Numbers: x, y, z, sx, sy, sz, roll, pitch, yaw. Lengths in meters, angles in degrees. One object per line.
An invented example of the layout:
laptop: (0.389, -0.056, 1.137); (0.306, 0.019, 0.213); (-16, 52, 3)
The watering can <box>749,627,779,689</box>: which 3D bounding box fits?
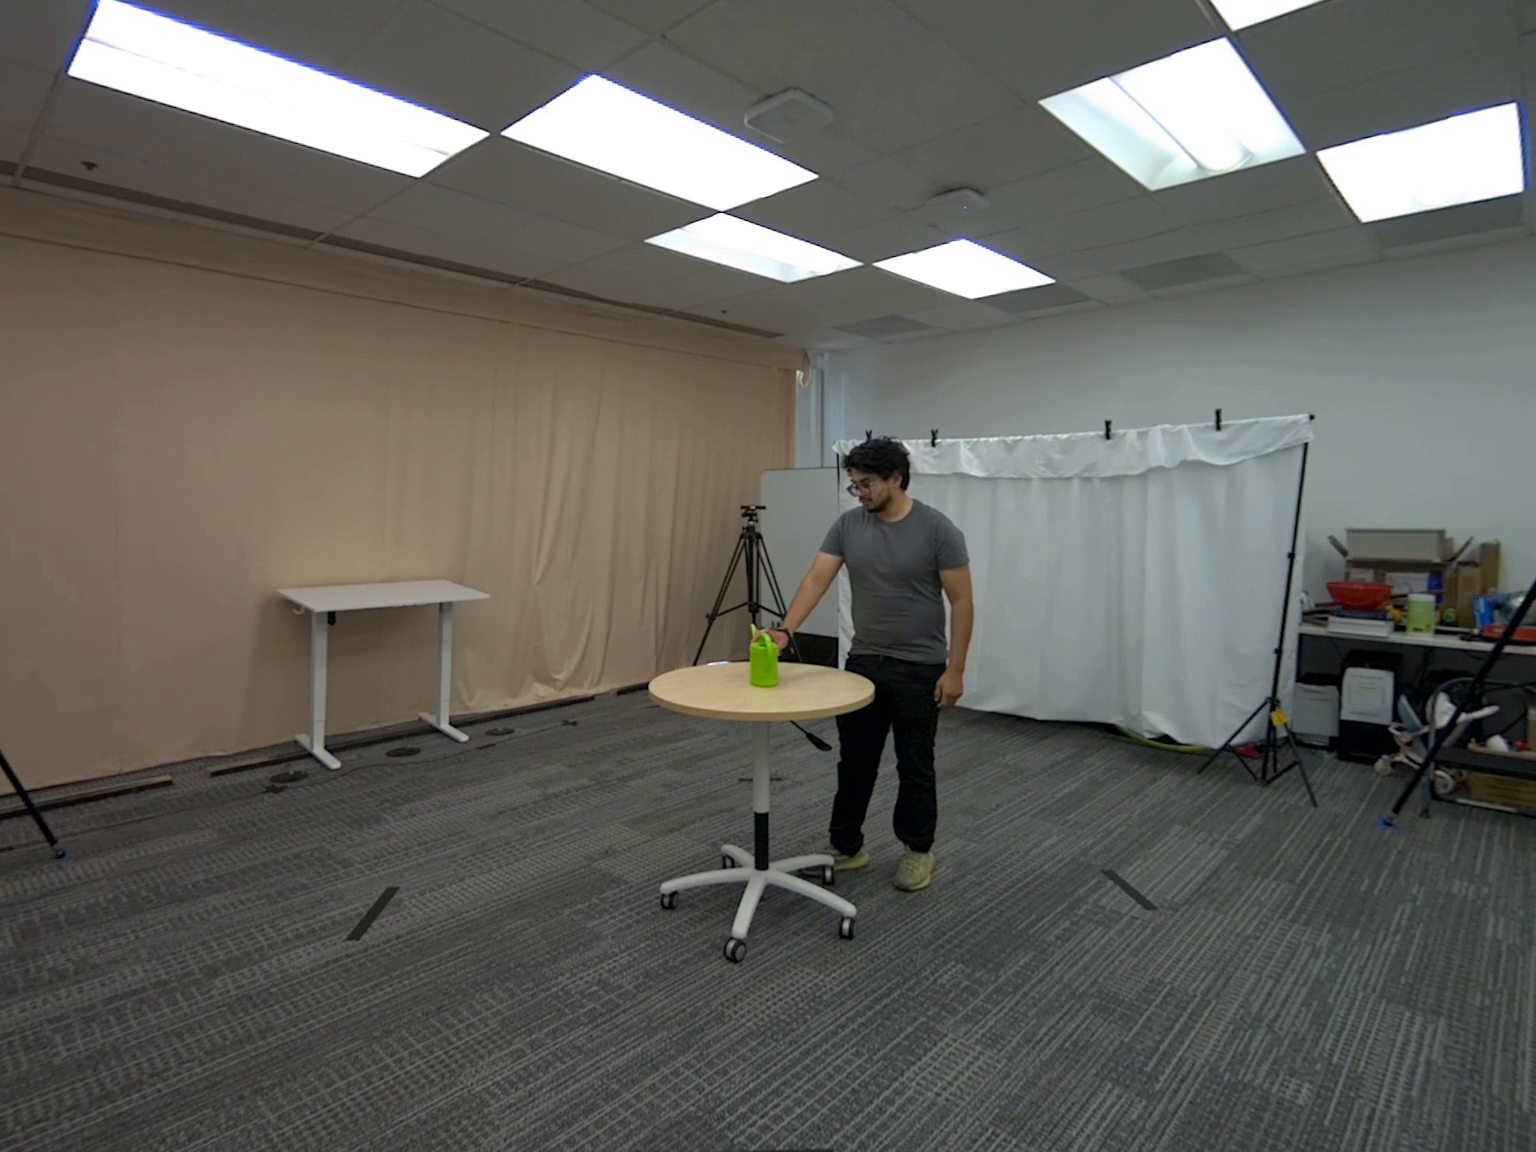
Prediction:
watering can: (-0.008, 0.280, 2.925); (0.098, 0.176, 0.279); (0, 6, 0)
